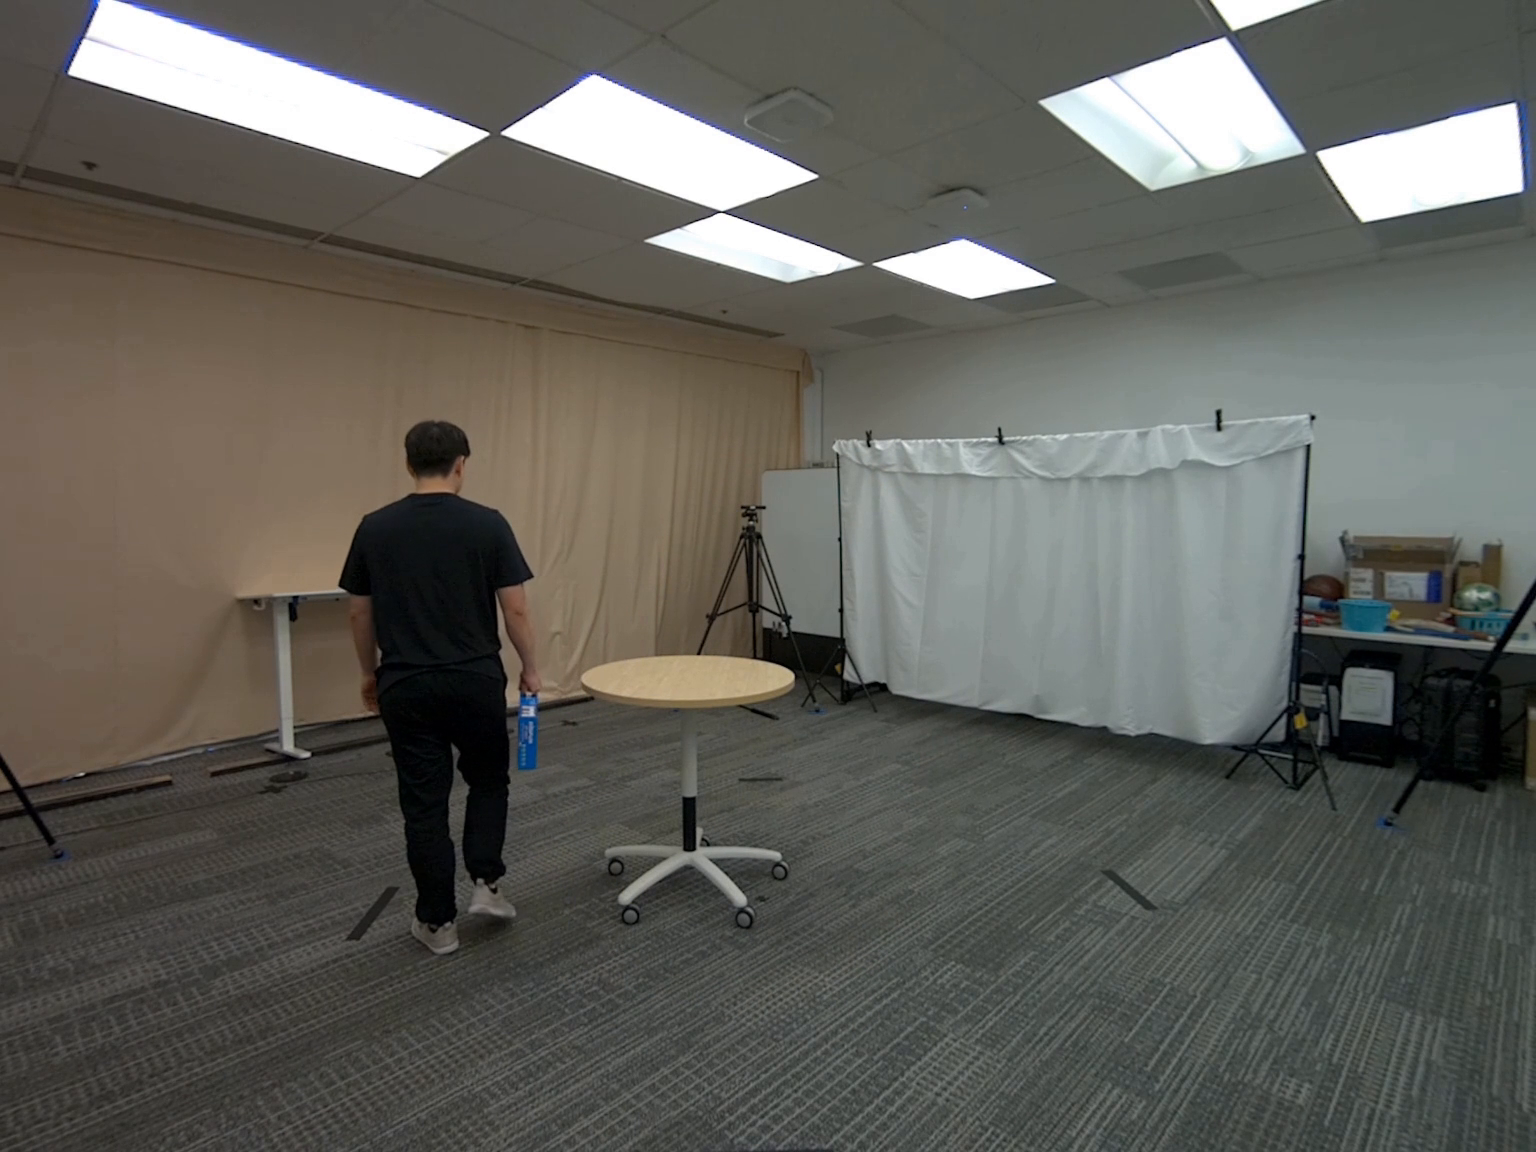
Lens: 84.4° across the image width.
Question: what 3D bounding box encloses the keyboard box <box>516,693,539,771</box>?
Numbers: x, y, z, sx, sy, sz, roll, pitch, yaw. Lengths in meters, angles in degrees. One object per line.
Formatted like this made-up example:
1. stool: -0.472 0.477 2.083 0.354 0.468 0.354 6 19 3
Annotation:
1. keyboard box: -0.811 0.489 2.840 0.058 0.175 0.445 1 11 -15
